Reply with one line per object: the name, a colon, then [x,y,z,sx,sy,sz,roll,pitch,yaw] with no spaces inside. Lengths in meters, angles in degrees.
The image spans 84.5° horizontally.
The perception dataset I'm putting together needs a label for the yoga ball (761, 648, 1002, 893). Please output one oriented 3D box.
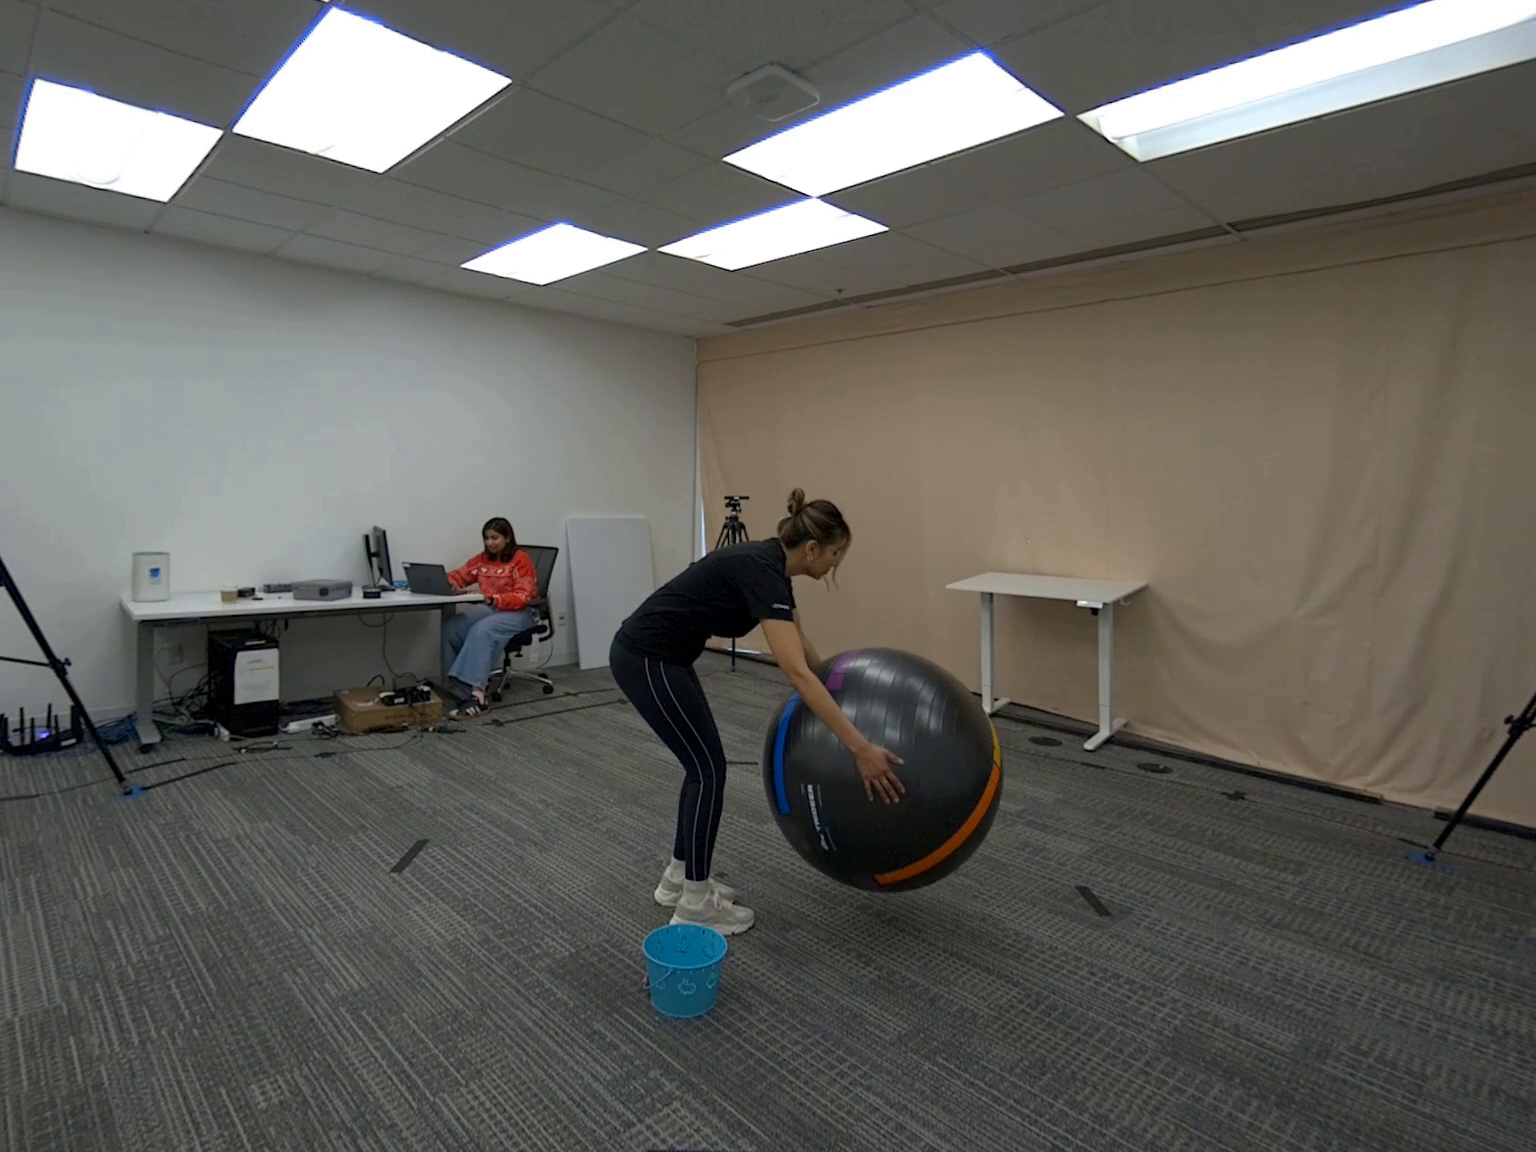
yoga ball: [0.362,0.606,2.720,0.757,0.756,0.761,1,4,-1]
